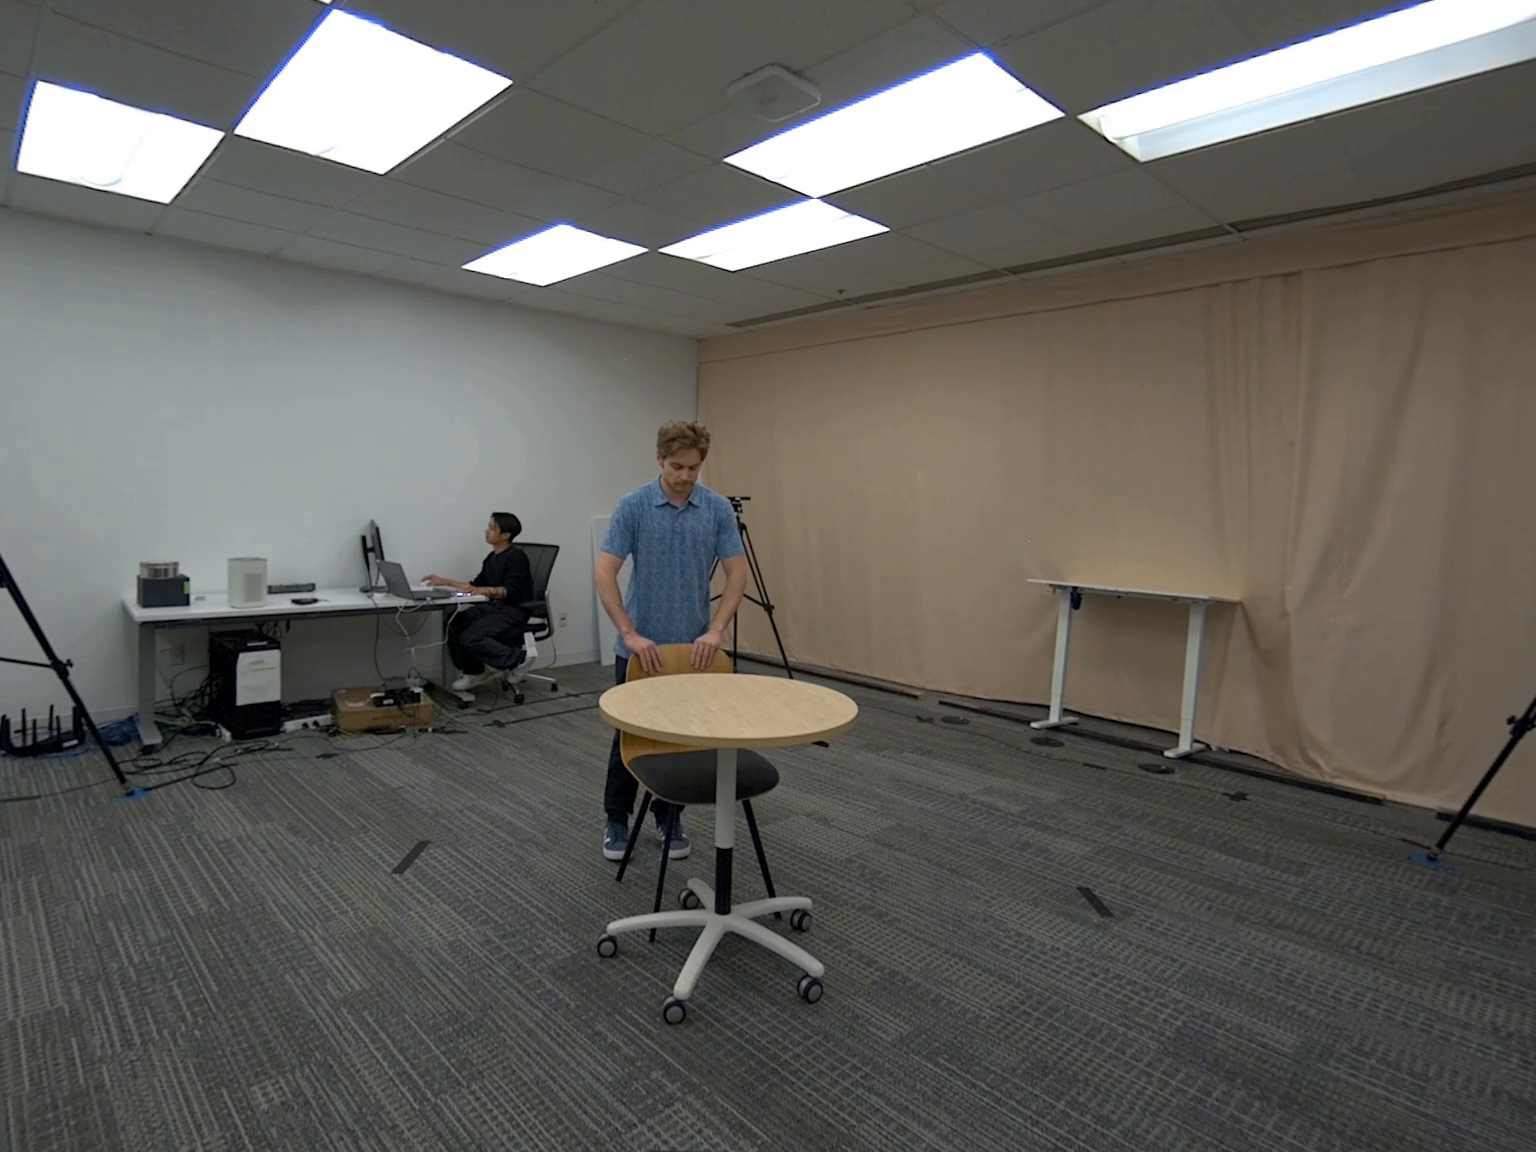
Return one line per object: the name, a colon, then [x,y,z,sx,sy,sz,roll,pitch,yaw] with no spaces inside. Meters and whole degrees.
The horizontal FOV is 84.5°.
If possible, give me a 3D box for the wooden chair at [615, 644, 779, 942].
wooden chair: [-0.250,0.697,2.880,0.470,0.877,0.532,0,0,-23]
